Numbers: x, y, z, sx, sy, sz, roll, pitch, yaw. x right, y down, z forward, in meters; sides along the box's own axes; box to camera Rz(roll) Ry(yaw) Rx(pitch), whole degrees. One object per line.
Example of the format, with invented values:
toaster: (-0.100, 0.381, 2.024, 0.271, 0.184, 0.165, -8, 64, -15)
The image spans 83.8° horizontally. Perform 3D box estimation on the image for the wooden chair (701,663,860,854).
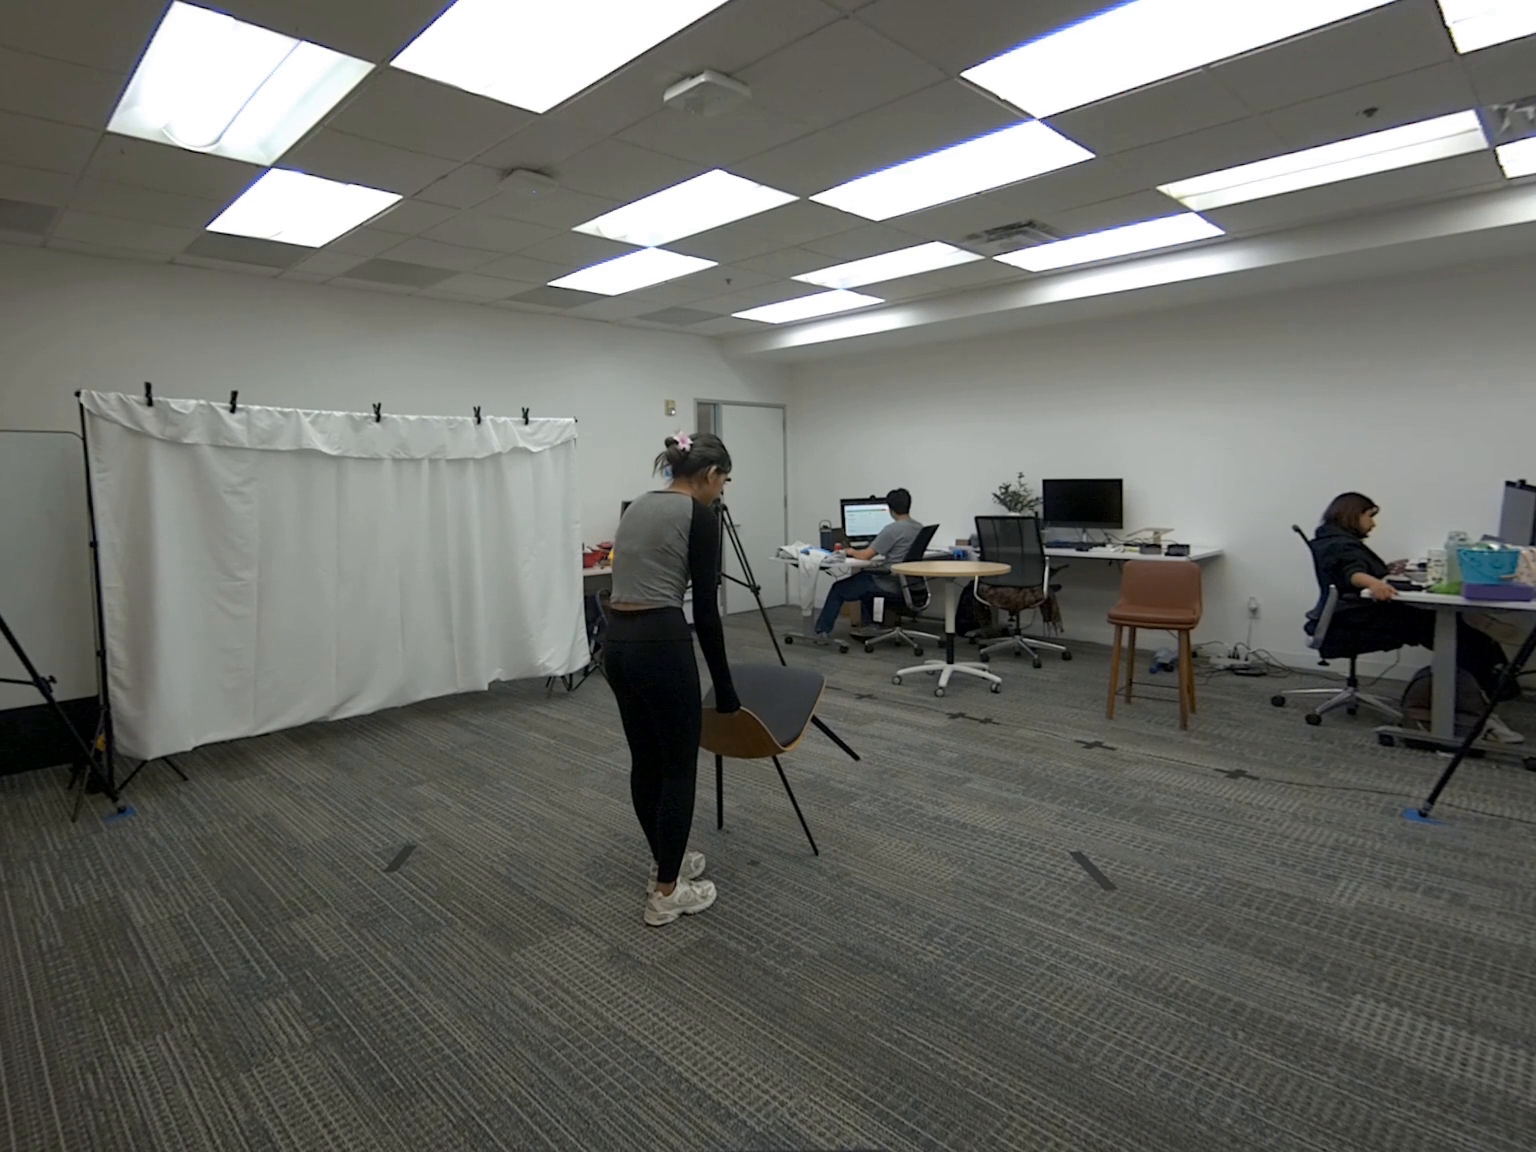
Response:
wooden chair: (-0.040, 0.547, 3.208, 0.492, 0.847, 0.527, 3, 45, 34)
